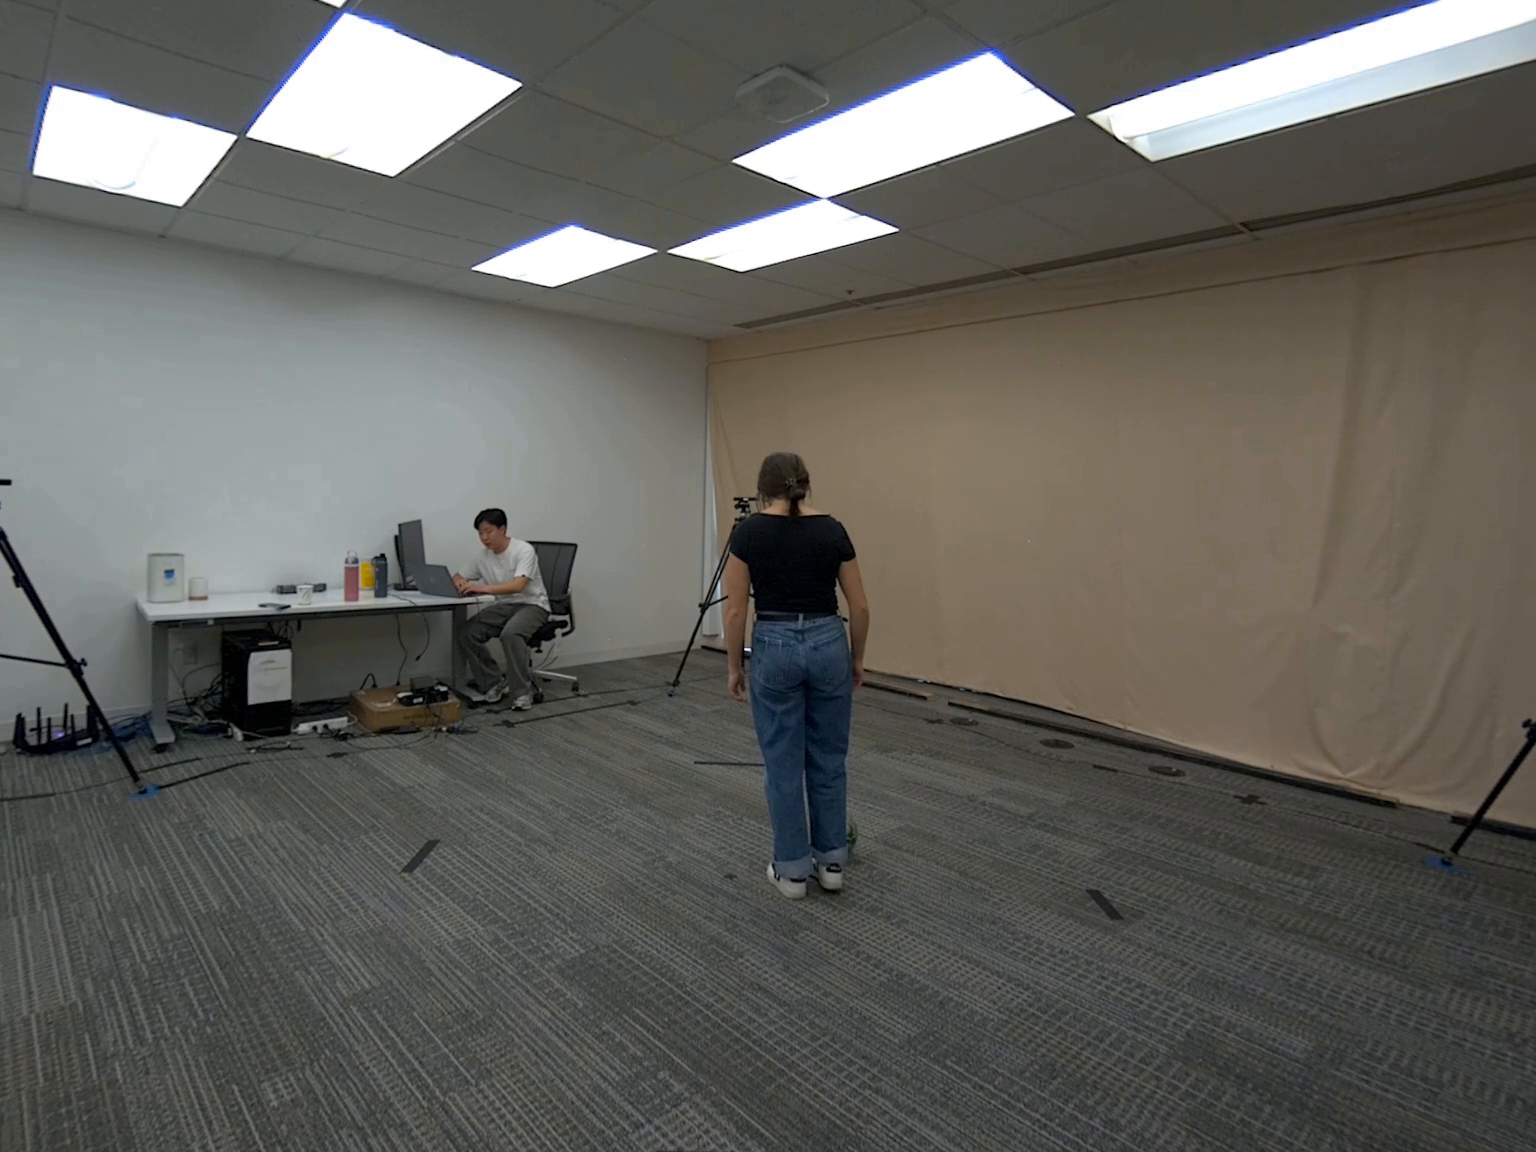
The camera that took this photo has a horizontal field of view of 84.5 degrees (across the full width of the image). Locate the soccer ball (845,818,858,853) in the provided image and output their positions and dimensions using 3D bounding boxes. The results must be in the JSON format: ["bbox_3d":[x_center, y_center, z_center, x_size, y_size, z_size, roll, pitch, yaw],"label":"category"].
[{"bbox_3d":[0.256,1.015,3.297,0.187,0.187,0.188,1,4,-1],"label":"soccer ball"}]
